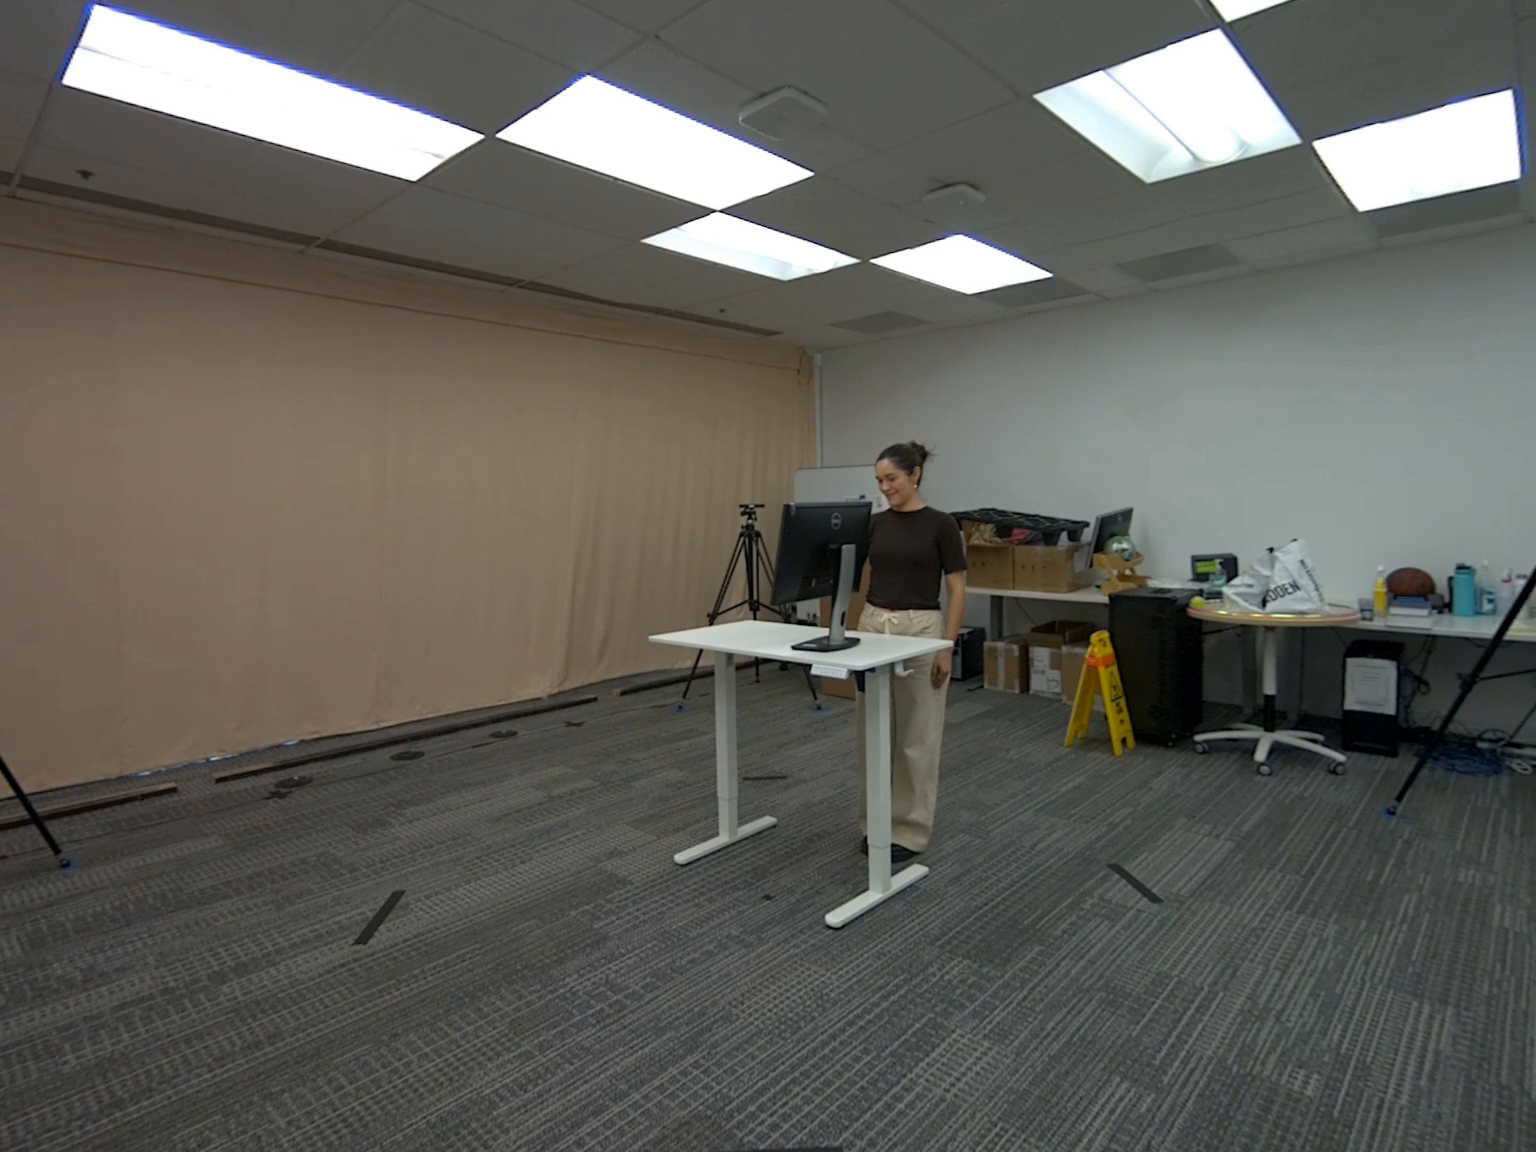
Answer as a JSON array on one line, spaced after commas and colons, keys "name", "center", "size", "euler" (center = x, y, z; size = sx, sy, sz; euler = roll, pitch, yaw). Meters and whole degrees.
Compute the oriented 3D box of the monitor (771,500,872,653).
[{"name": "monitor", "center": [0.225, -0.001, 2.994], "size": [0.193, 0.522, 0.523], "euler": [0, 4, 40]}]
